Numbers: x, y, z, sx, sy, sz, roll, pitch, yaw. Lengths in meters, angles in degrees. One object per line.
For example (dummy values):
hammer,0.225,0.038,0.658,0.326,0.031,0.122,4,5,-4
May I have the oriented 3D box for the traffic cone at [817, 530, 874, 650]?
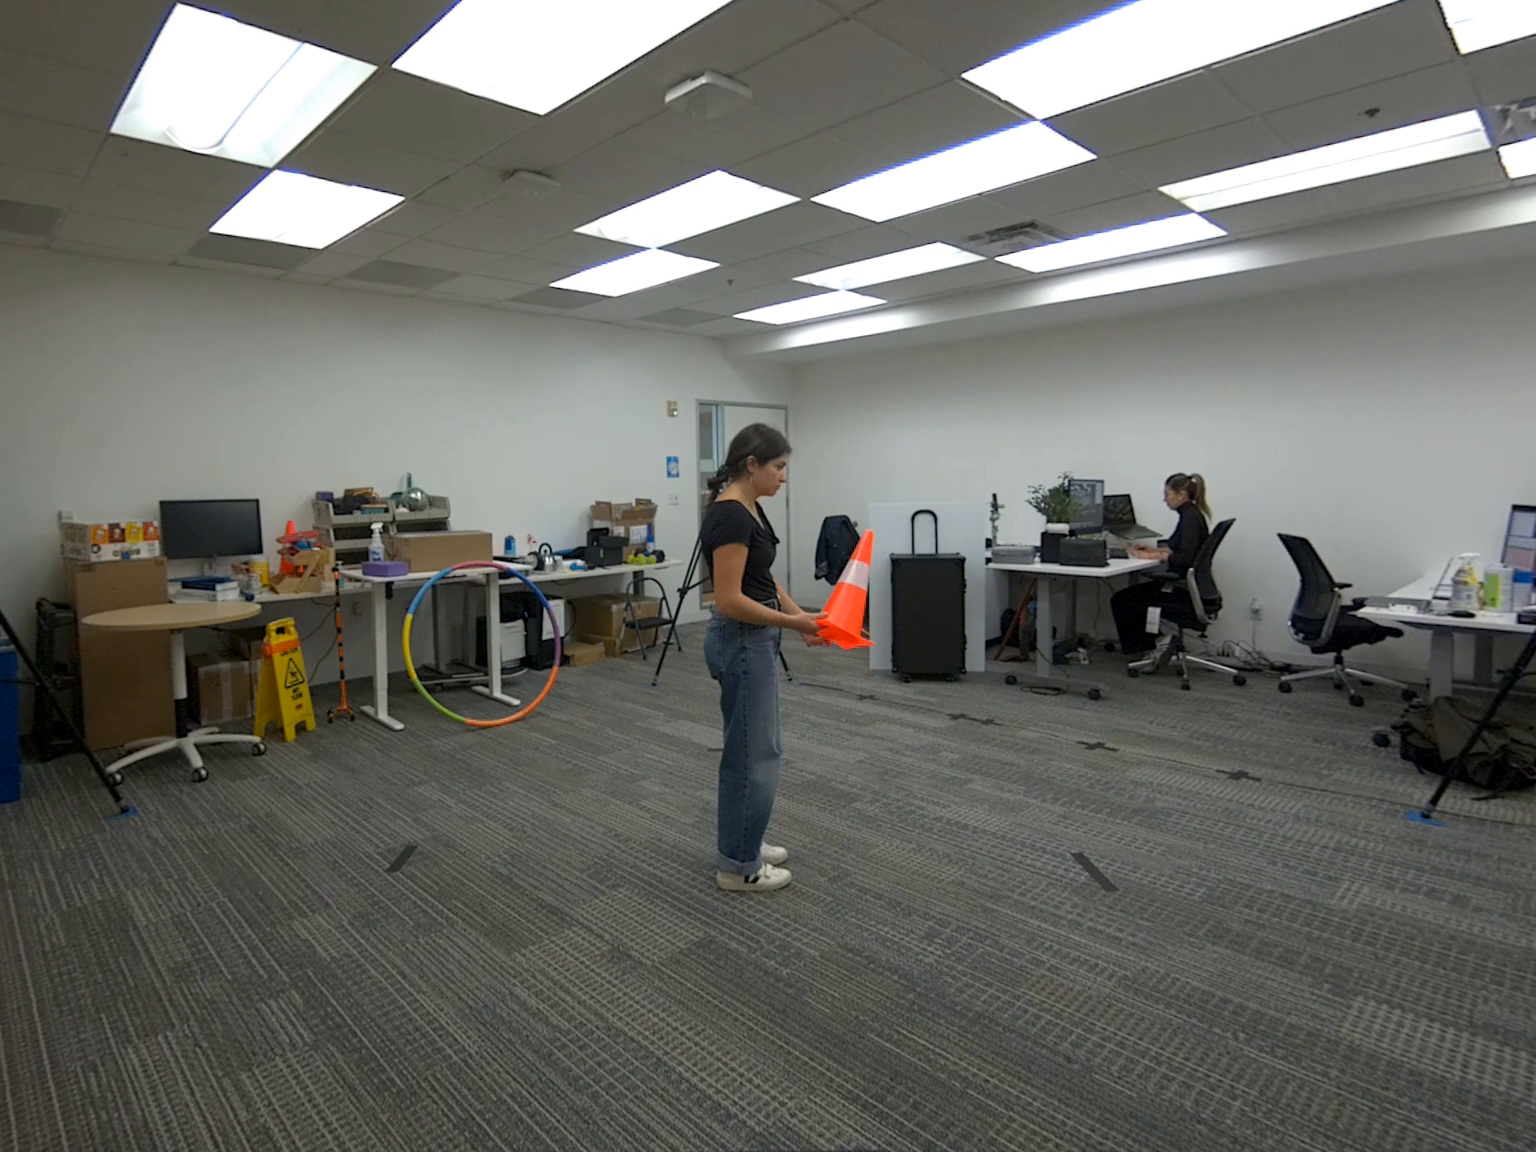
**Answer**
traffic cone,0.279,0.048,2.858,0.199,0.387,0.207,28,-19,-24
